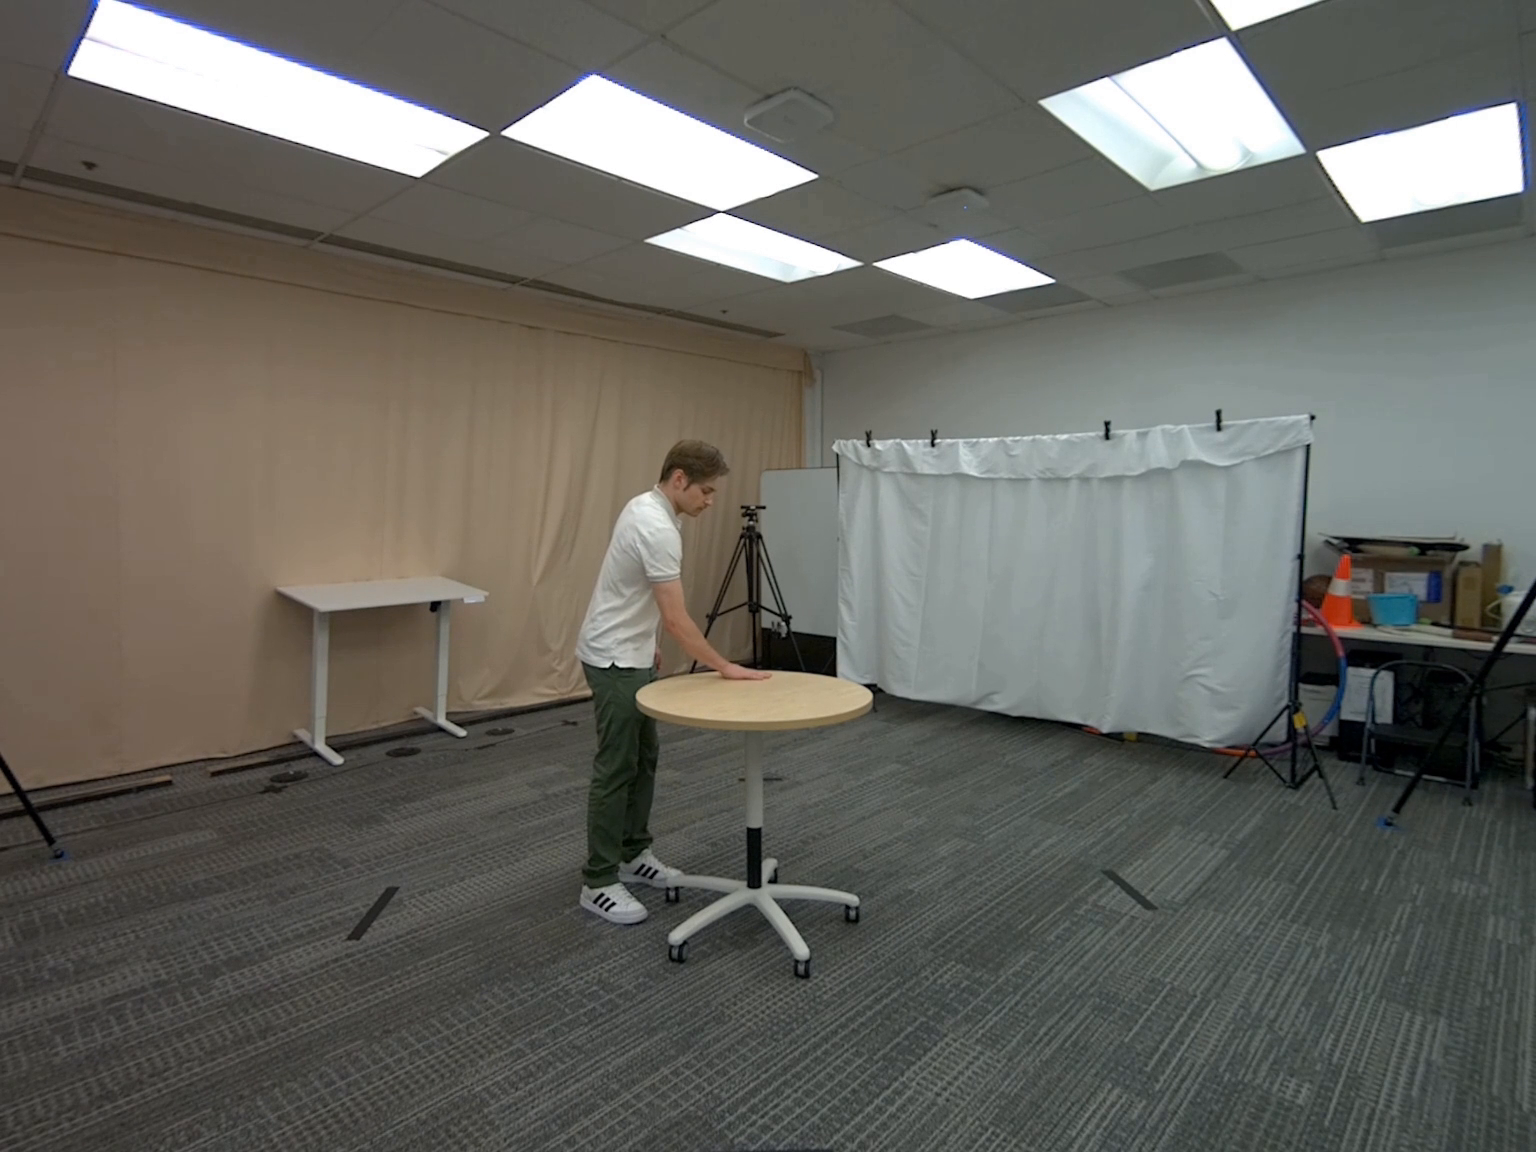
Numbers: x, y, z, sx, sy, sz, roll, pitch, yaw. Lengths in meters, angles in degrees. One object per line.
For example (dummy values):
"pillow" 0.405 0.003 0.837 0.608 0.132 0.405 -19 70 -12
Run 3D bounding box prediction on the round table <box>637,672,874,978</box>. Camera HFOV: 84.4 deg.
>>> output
"round table" -0.035 0.770 2.745 0.784 0.785 0.787 -1 3 -2
